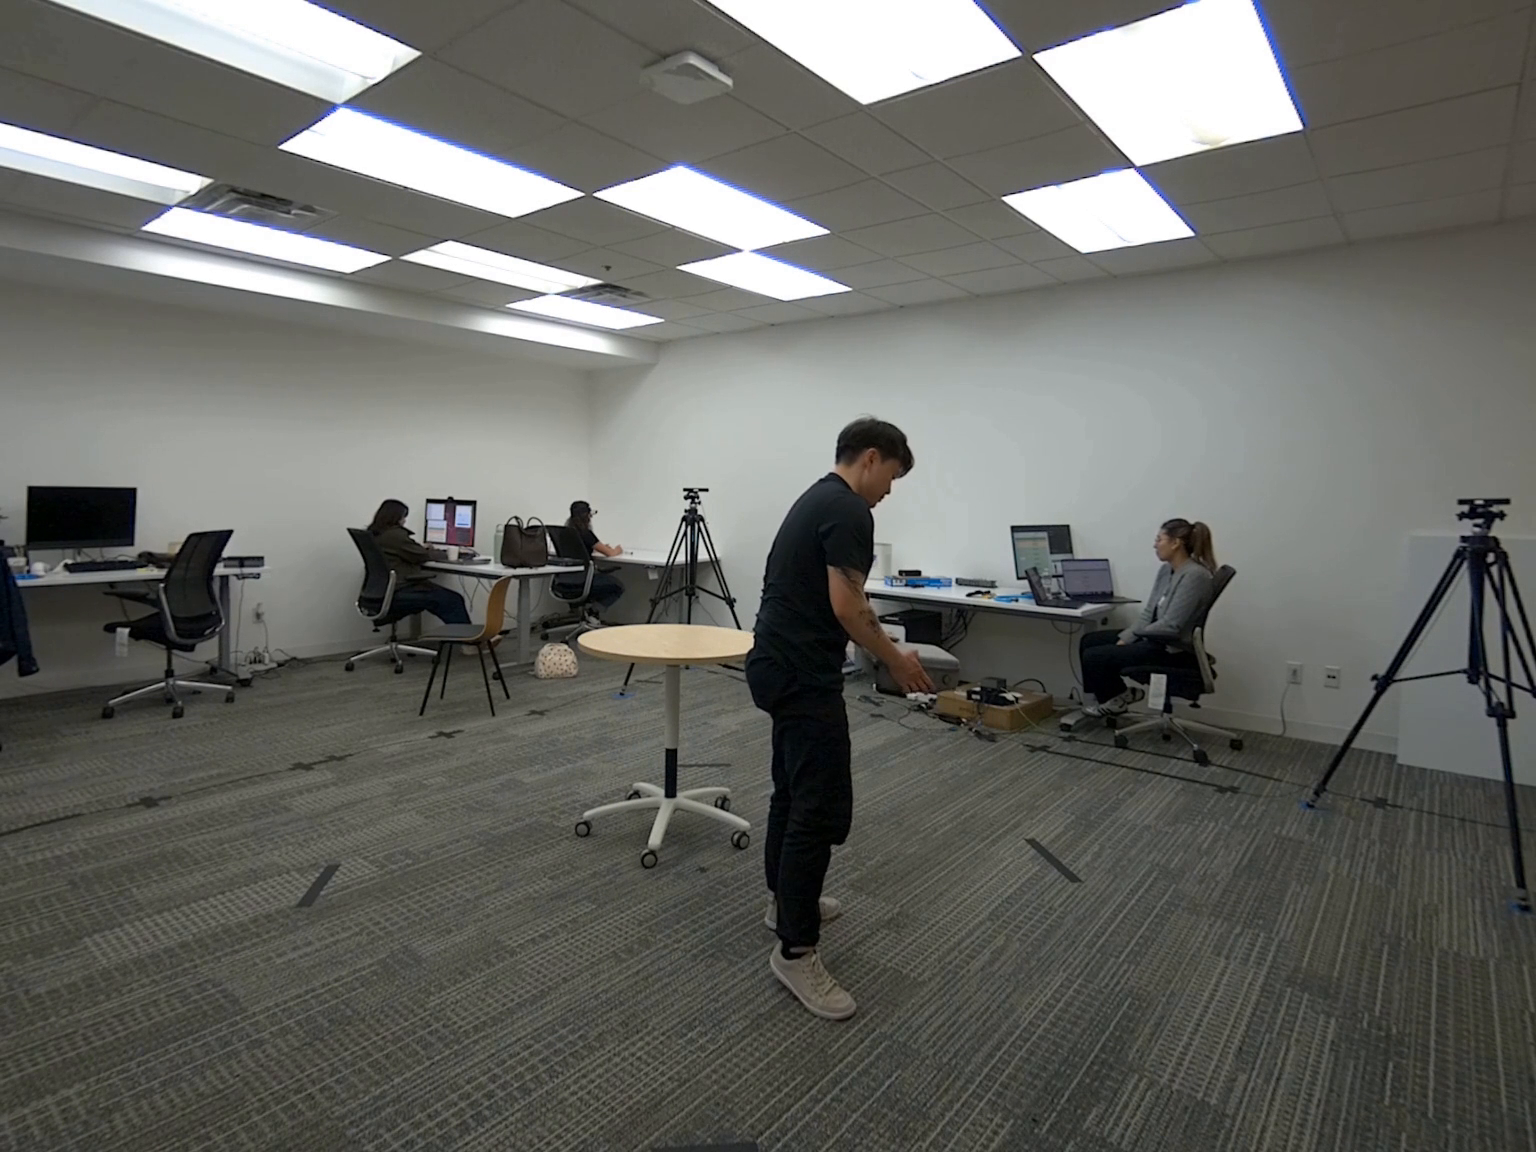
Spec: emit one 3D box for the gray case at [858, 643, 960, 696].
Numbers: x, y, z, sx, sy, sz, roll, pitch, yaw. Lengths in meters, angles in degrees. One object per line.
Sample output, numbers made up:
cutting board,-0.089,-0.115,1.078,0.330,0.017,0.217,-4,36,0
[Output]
gray case,0.434,0.278,2.635,0.259,0.104,0.259,4,5,-5
